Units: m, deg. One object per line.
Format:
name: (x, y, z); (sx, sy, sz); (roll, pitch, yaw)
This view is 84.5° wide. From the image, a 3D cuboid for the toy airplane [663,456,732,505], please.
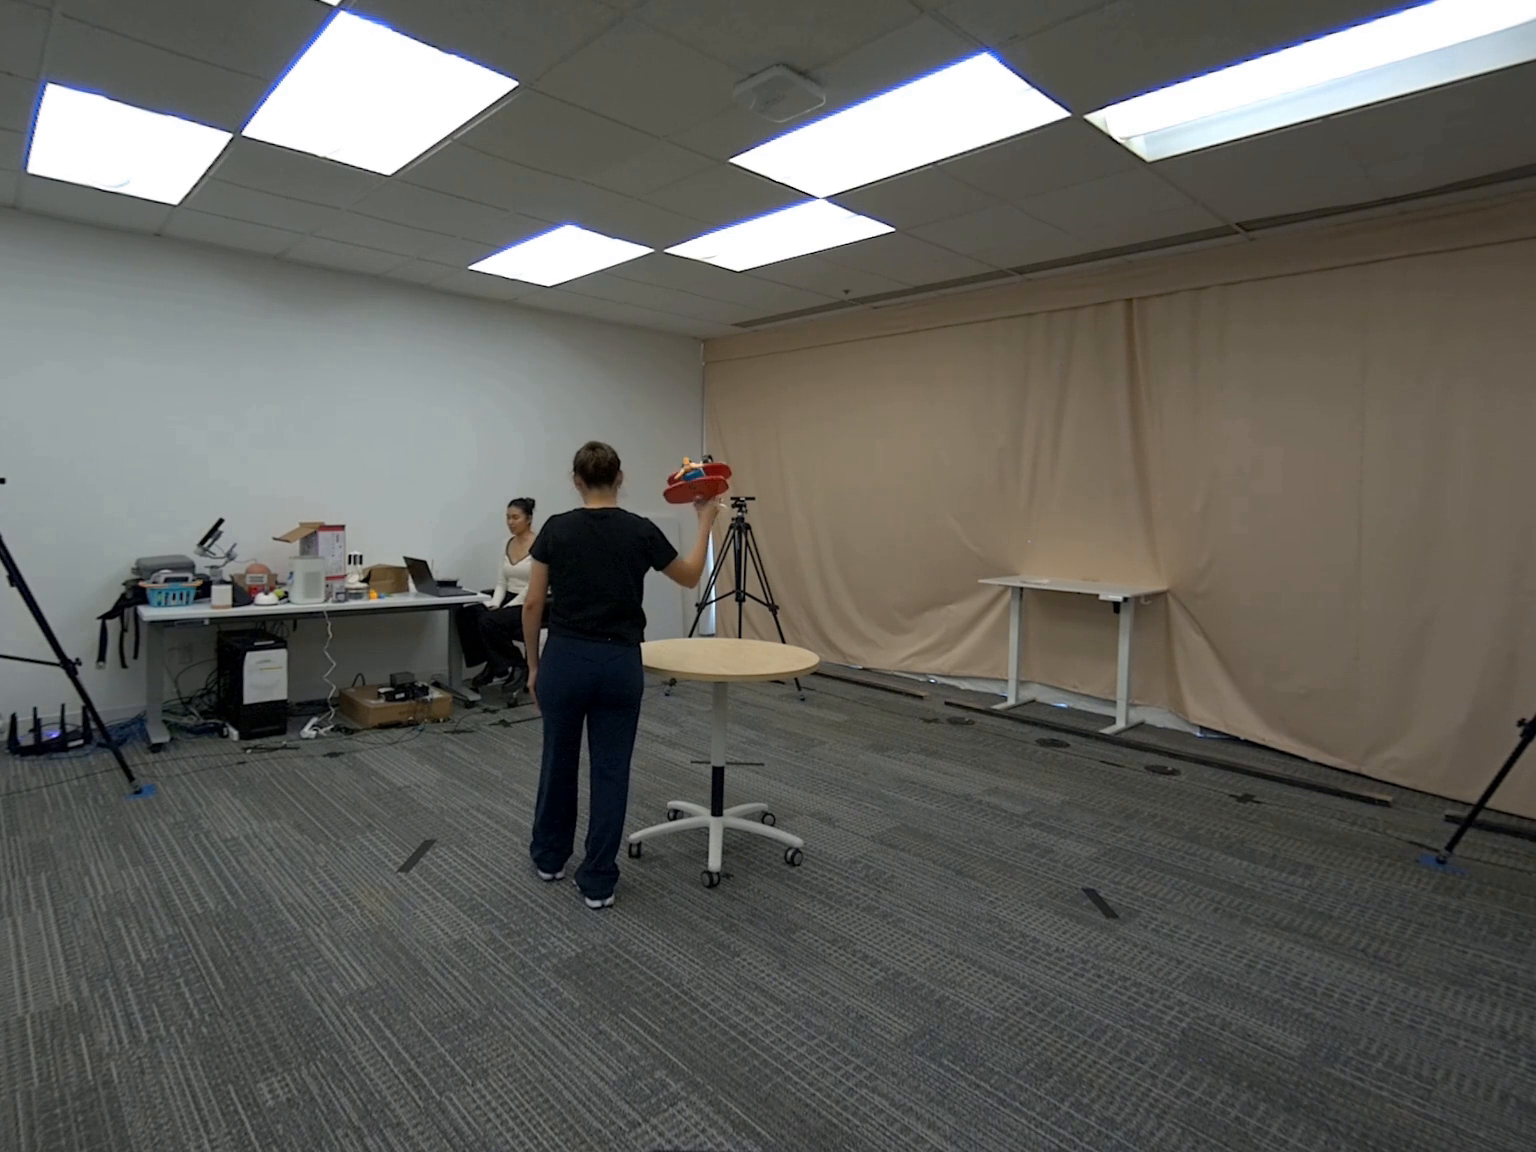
toy airplane: (-0.244, -0.317, 3.152); (0.252, 0.256, 0.158); (-40, 15, 30)
